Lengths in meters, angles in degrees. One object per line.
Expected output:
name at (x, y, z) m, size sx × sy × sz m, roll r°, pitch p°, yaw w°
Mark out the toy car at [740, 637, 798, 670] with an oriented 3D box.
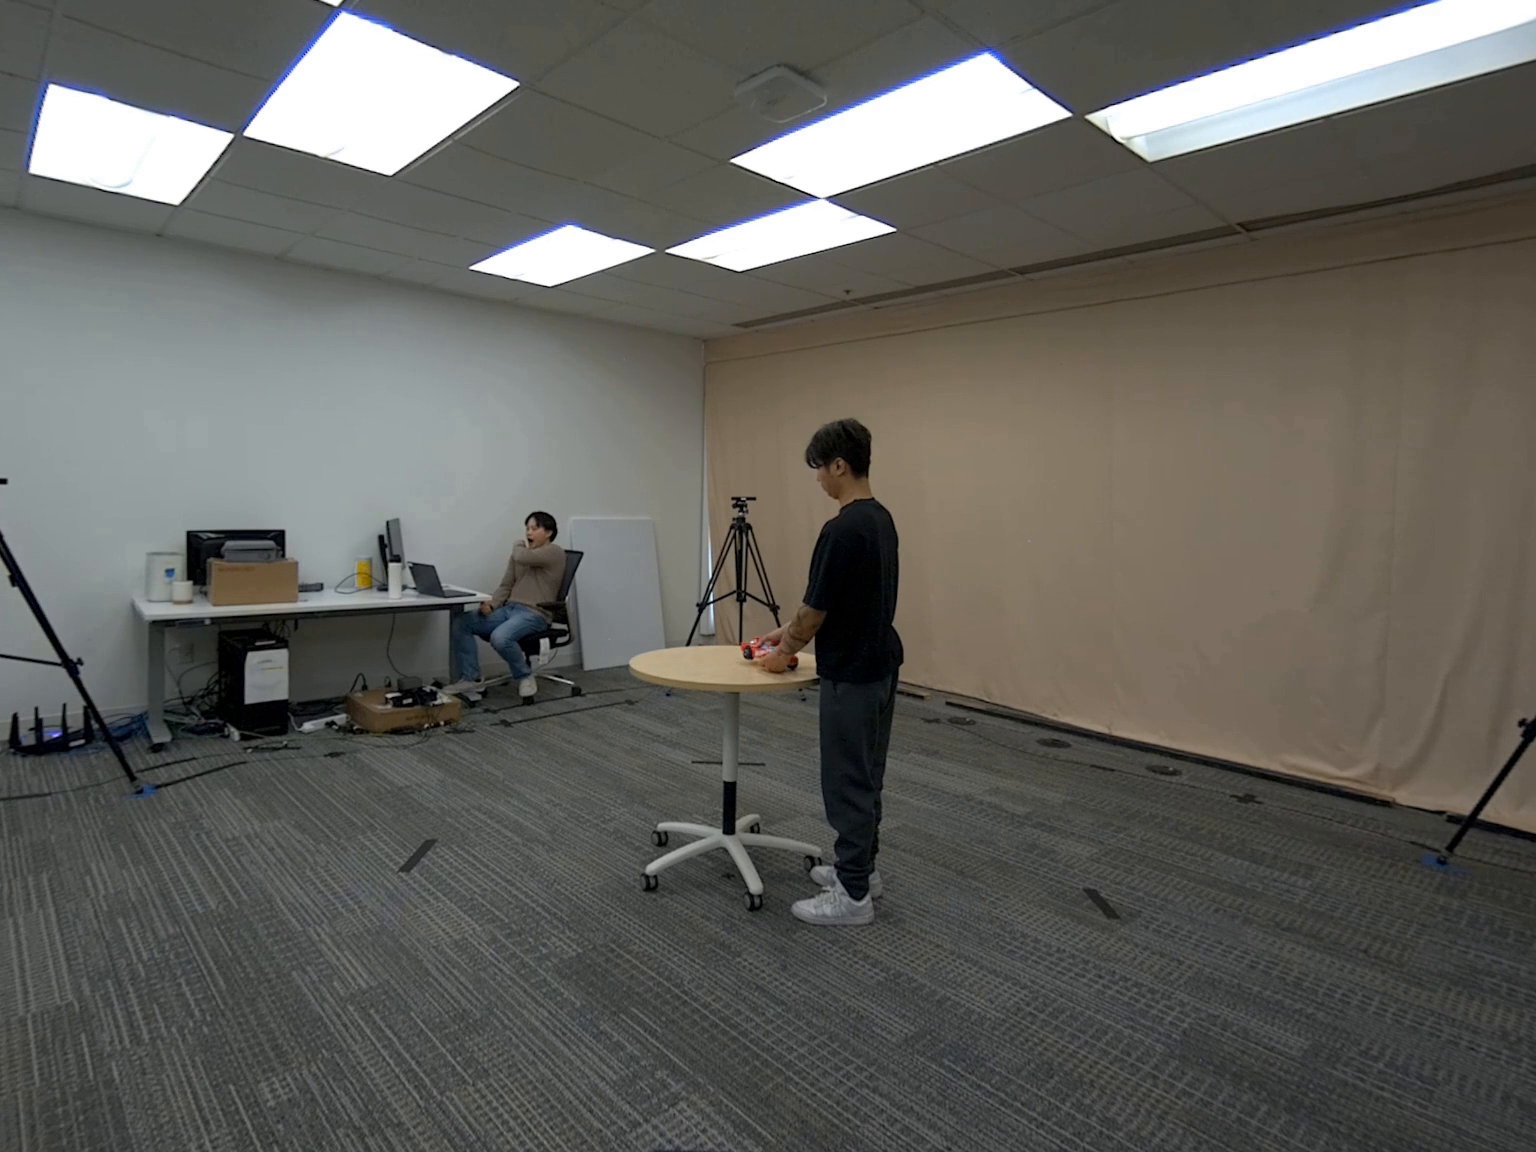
toy car at (-0.008, 0.285, 3.067) m, size 0.127 × 0.083 × 0.262 m, roll 12°, pitch 8°, yaw -35°
